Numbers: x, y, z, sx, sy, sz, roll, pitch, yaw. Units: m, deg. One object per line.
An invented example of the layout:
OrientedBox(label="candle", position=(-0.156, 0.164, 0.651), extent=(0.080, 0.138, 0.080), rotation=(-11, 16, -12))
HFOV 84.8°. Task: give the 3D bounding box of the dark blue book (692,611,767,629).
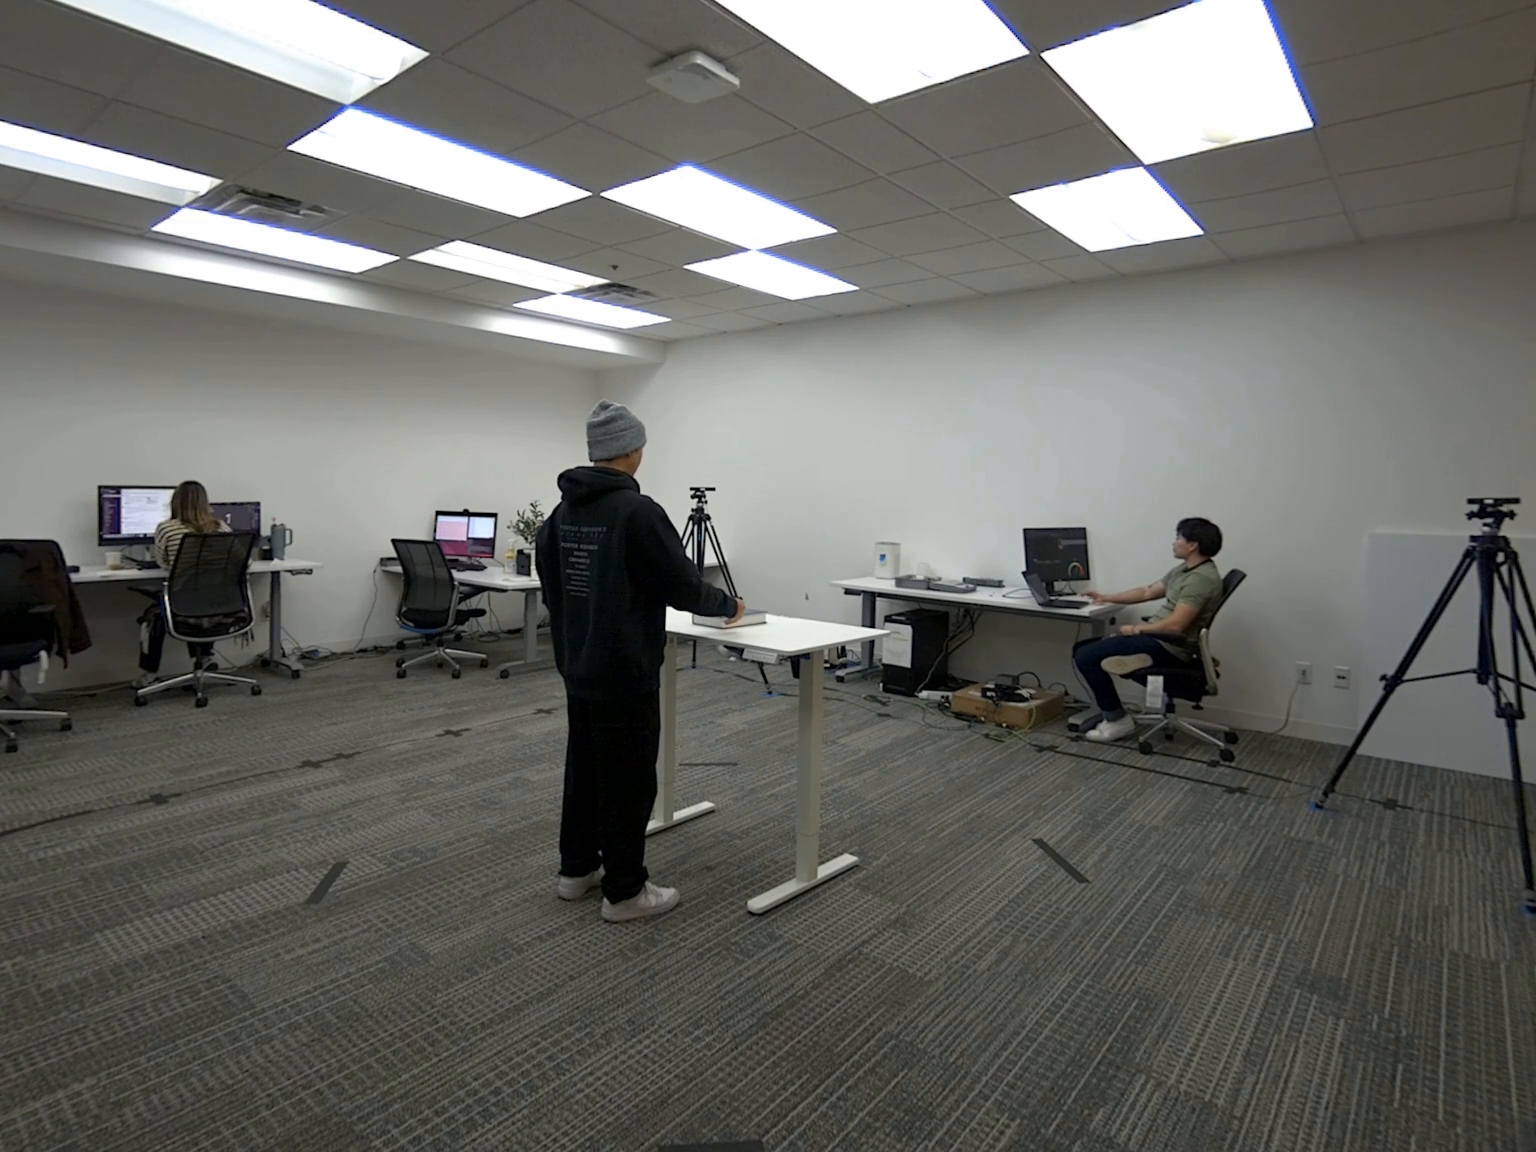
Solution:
OrientedBox(label="dark blue book", position=(-0.145, 0.156, 3.204), extent=(0.169, 0.045, 0.238), rotation=(5, 6, 44))
